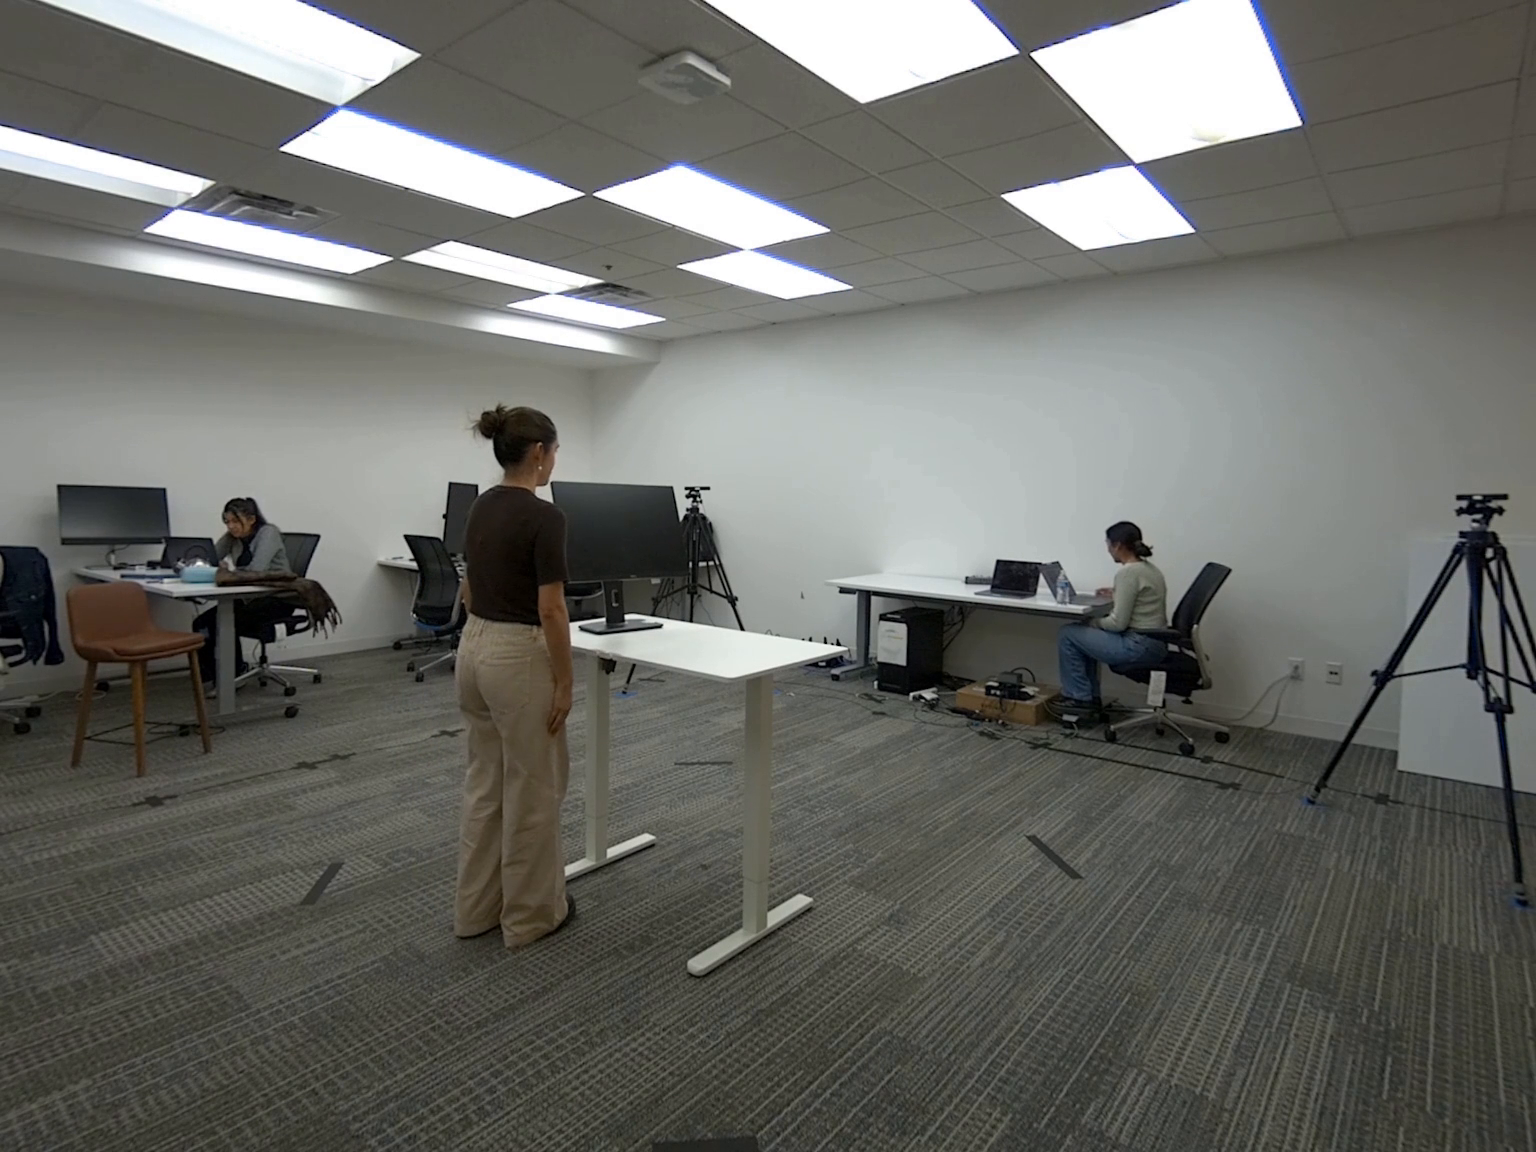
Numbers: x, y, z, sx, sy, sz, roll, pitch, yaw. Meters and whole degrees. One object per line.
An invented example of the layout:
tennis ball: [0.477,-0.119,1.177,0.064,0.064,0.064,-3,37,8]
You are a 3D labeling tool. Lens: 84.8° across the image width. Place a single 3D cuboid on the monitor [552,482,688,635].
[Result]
monitor: [-0.548,-0.070,3.032,0.193,0.523,0.522,-2,0,44]
